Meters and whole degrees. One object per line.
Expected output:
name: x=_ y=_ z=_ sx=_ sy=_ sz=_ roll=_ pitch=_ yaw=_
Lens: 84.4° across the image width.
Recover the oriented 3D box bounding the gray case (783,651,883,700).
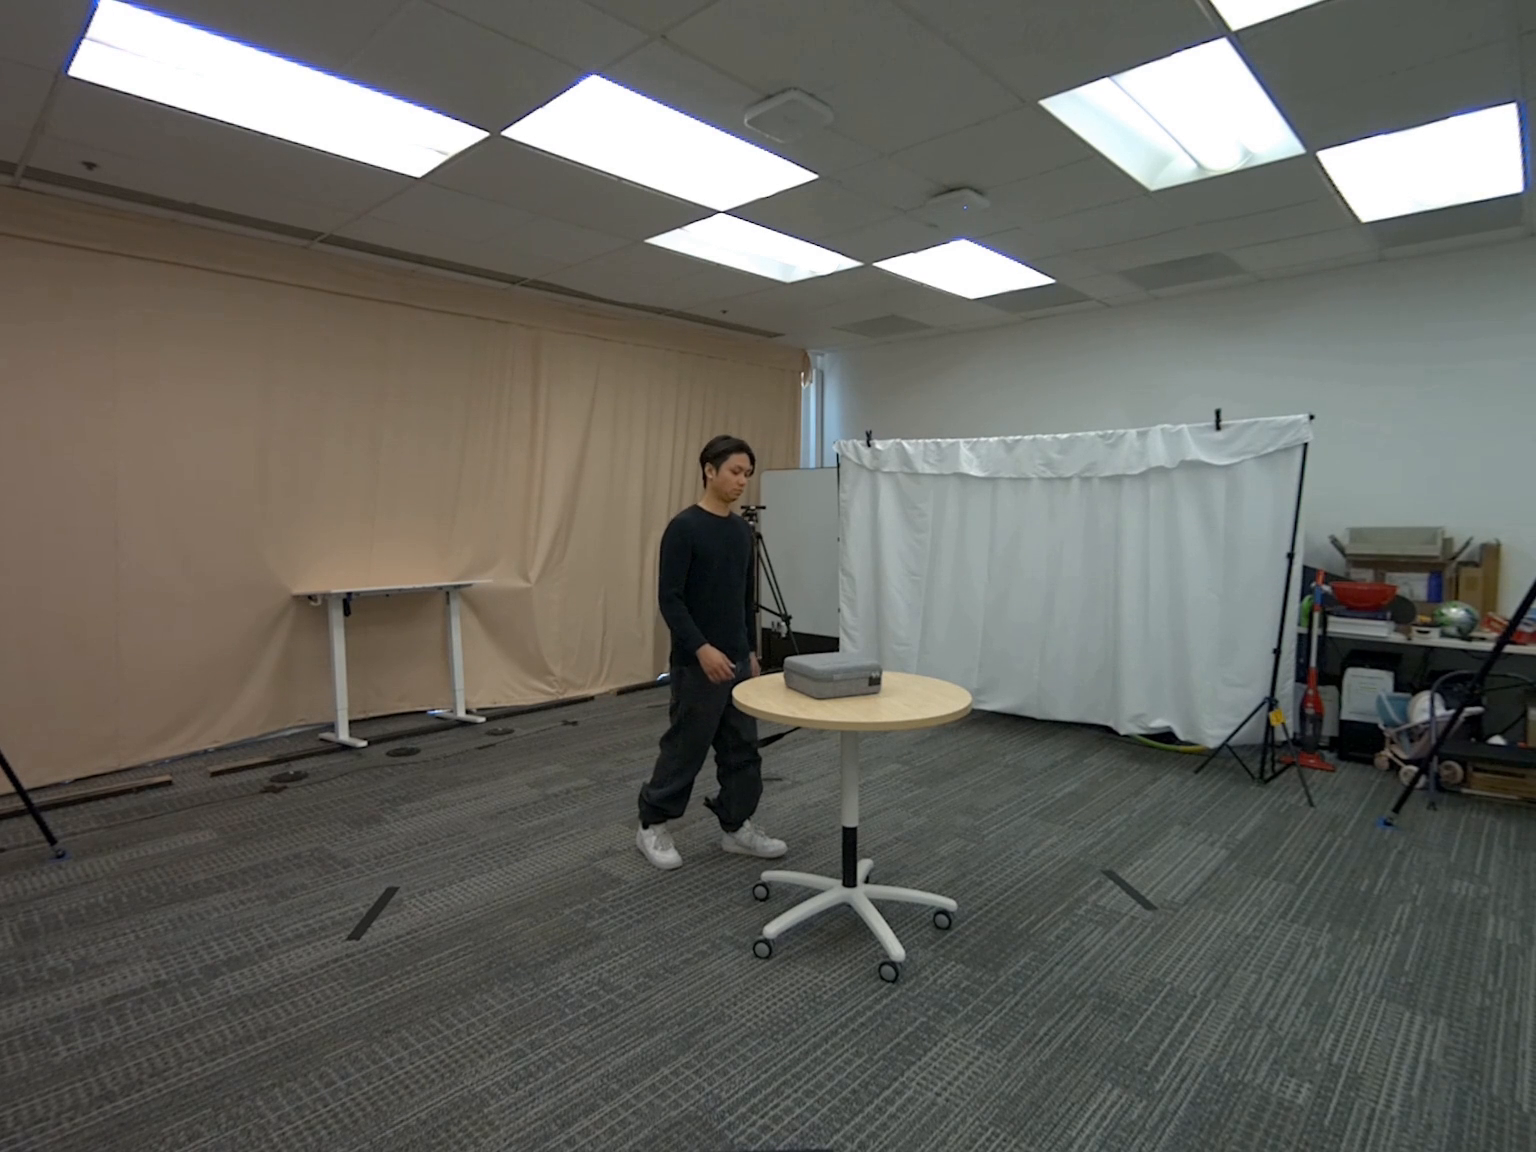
gray case: x=0.211 y=0.322 z=2.782 sx=0.251 sy=0.104 sz=0.267 roll=-4 pitch=5 yaw=-23
